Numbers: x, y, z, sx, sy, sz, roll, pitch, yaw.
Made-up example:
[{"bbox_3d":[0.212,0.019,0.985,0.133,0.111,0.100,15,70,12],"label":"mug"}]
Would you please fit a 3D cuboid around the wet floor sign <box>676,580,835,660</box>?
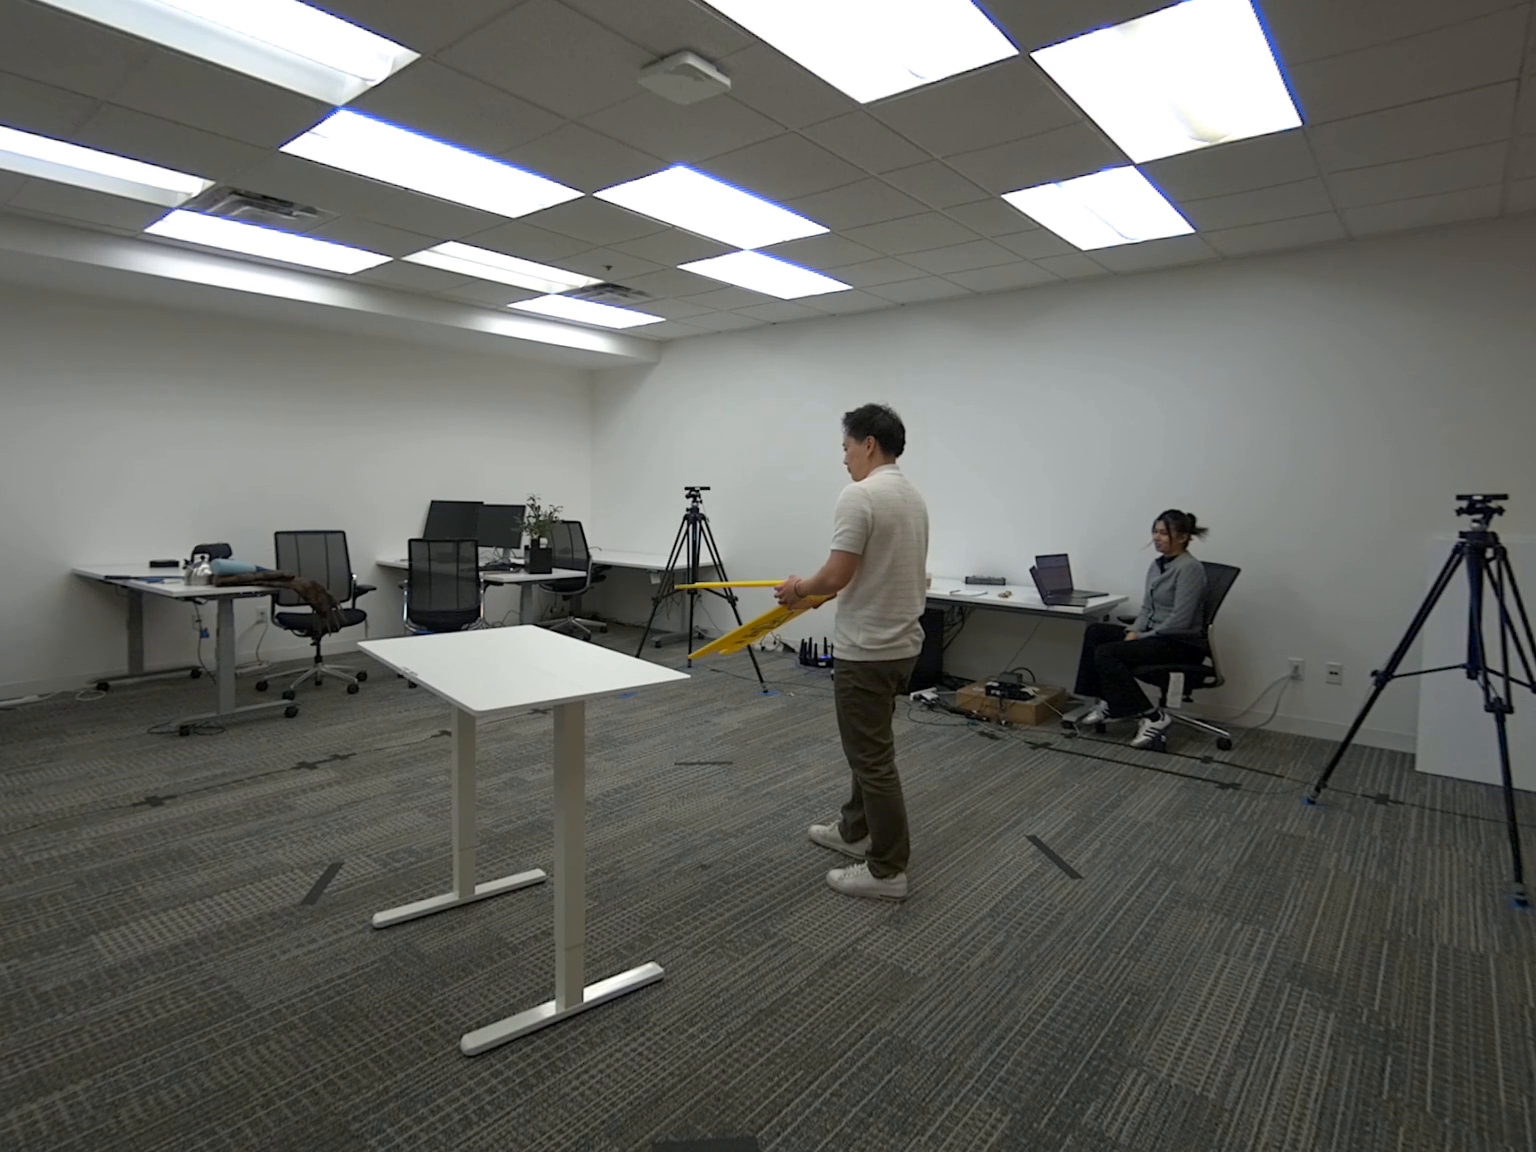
[{"bbox_3d":[-0.021,0.097,3.282,0.659,0.293,0.273,-18,-12,34],"label":"wet floor sign"}]
